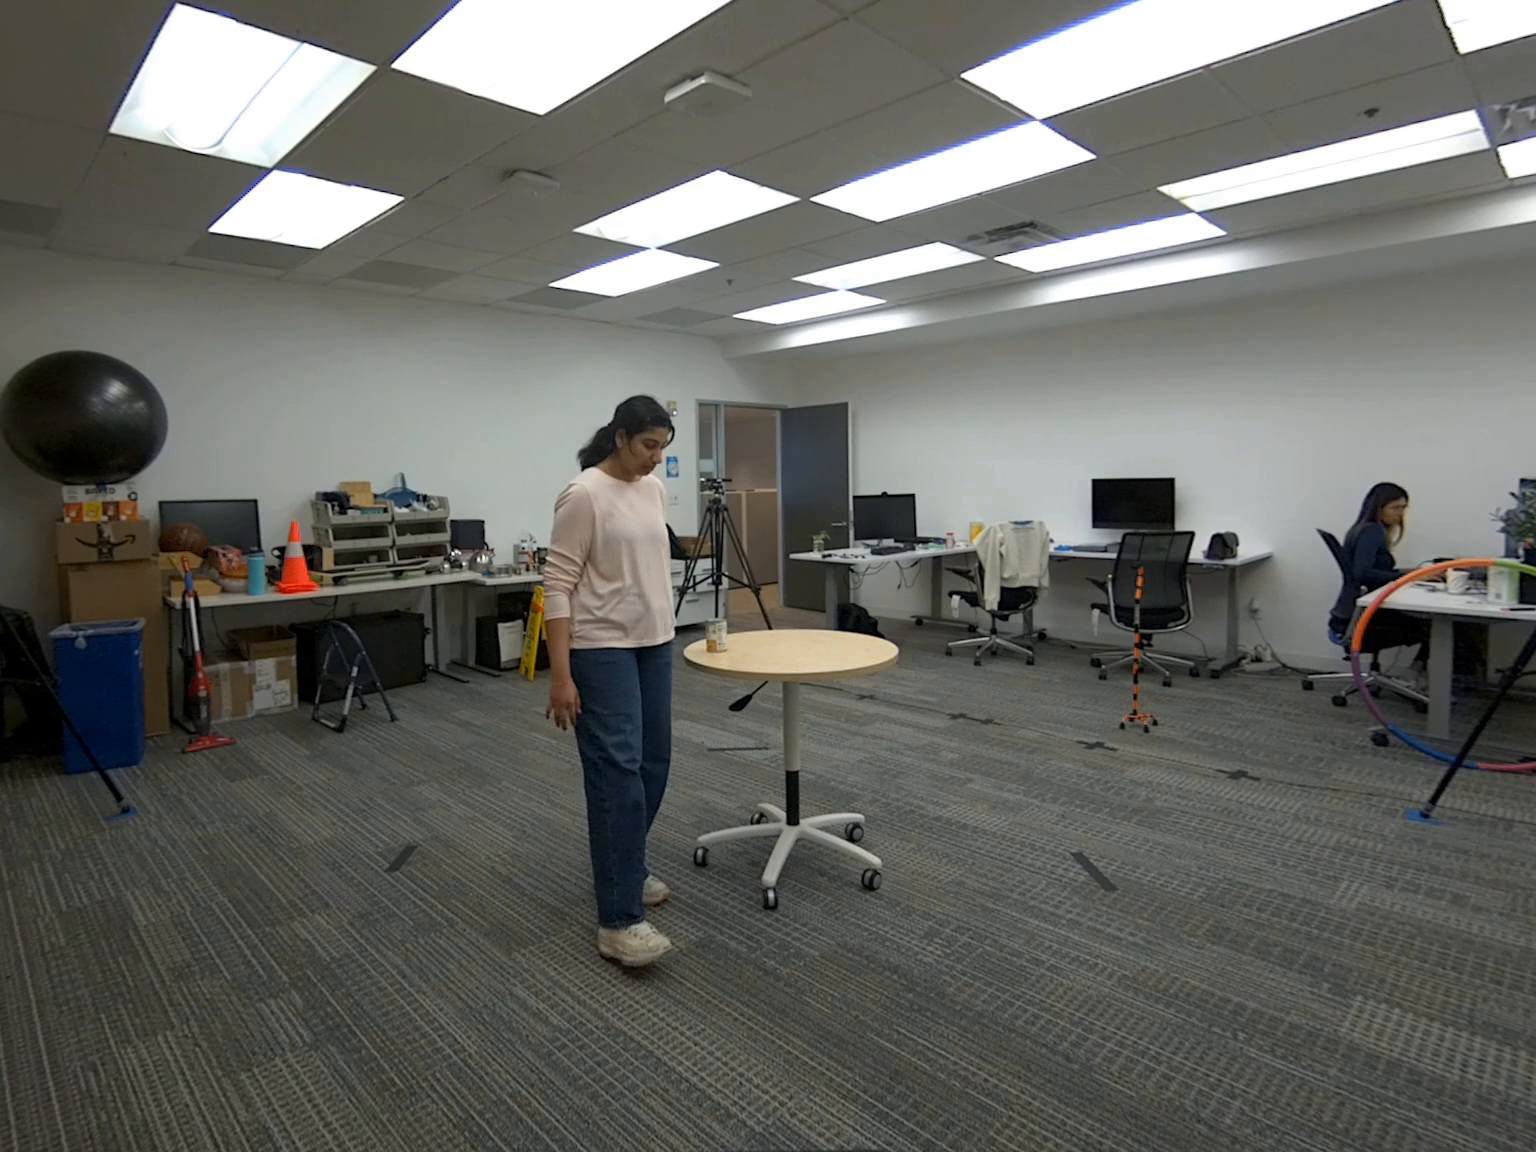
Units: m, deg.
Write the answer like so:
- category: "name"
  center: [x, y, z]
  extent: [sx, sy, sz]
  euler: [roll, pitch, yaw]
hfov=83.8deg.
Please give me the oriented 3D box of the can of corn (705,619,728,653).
- category: "can of corn"
  center: [-0.185, 0.218, 3.066]
  extent: [0.074, 0.110, 0.075]
  euler: [-3, 7, -1]
